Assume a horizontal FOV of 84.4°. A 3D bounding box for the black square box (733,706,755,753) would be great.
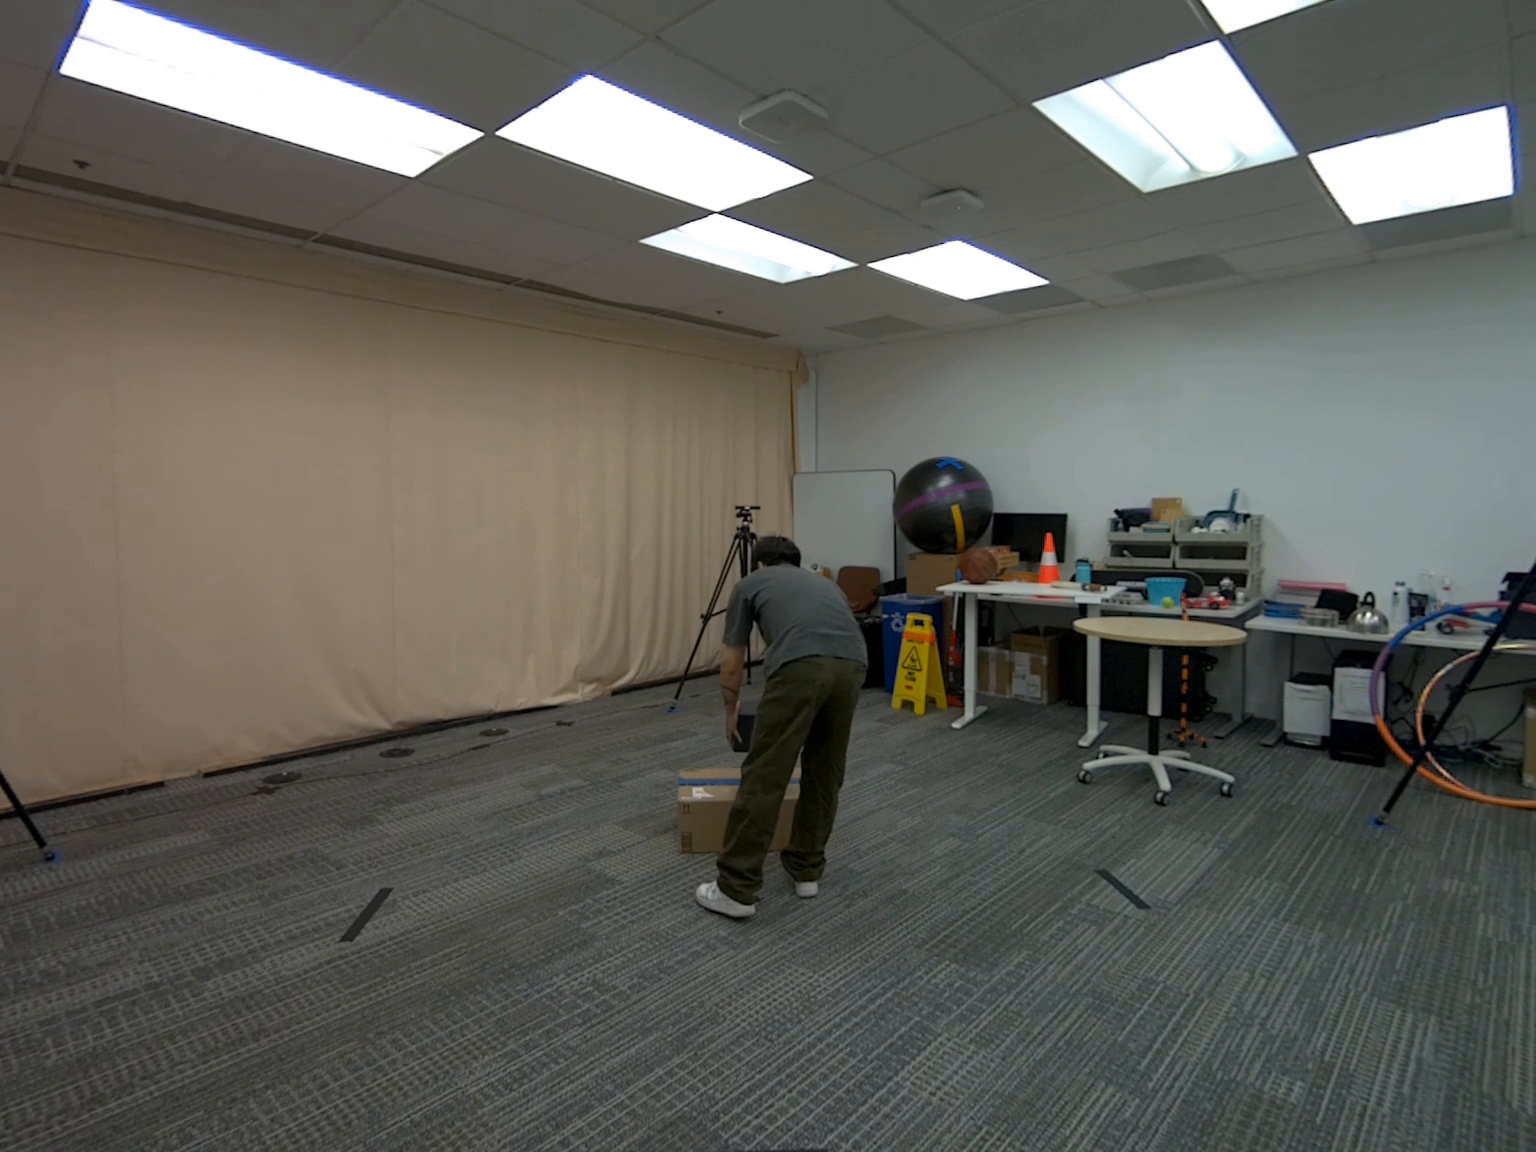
[{"bbox_3d":[-0.043,0.624,3.487,0.225,0.156,0.220,2,3,-11],"label":"black square box"}]
